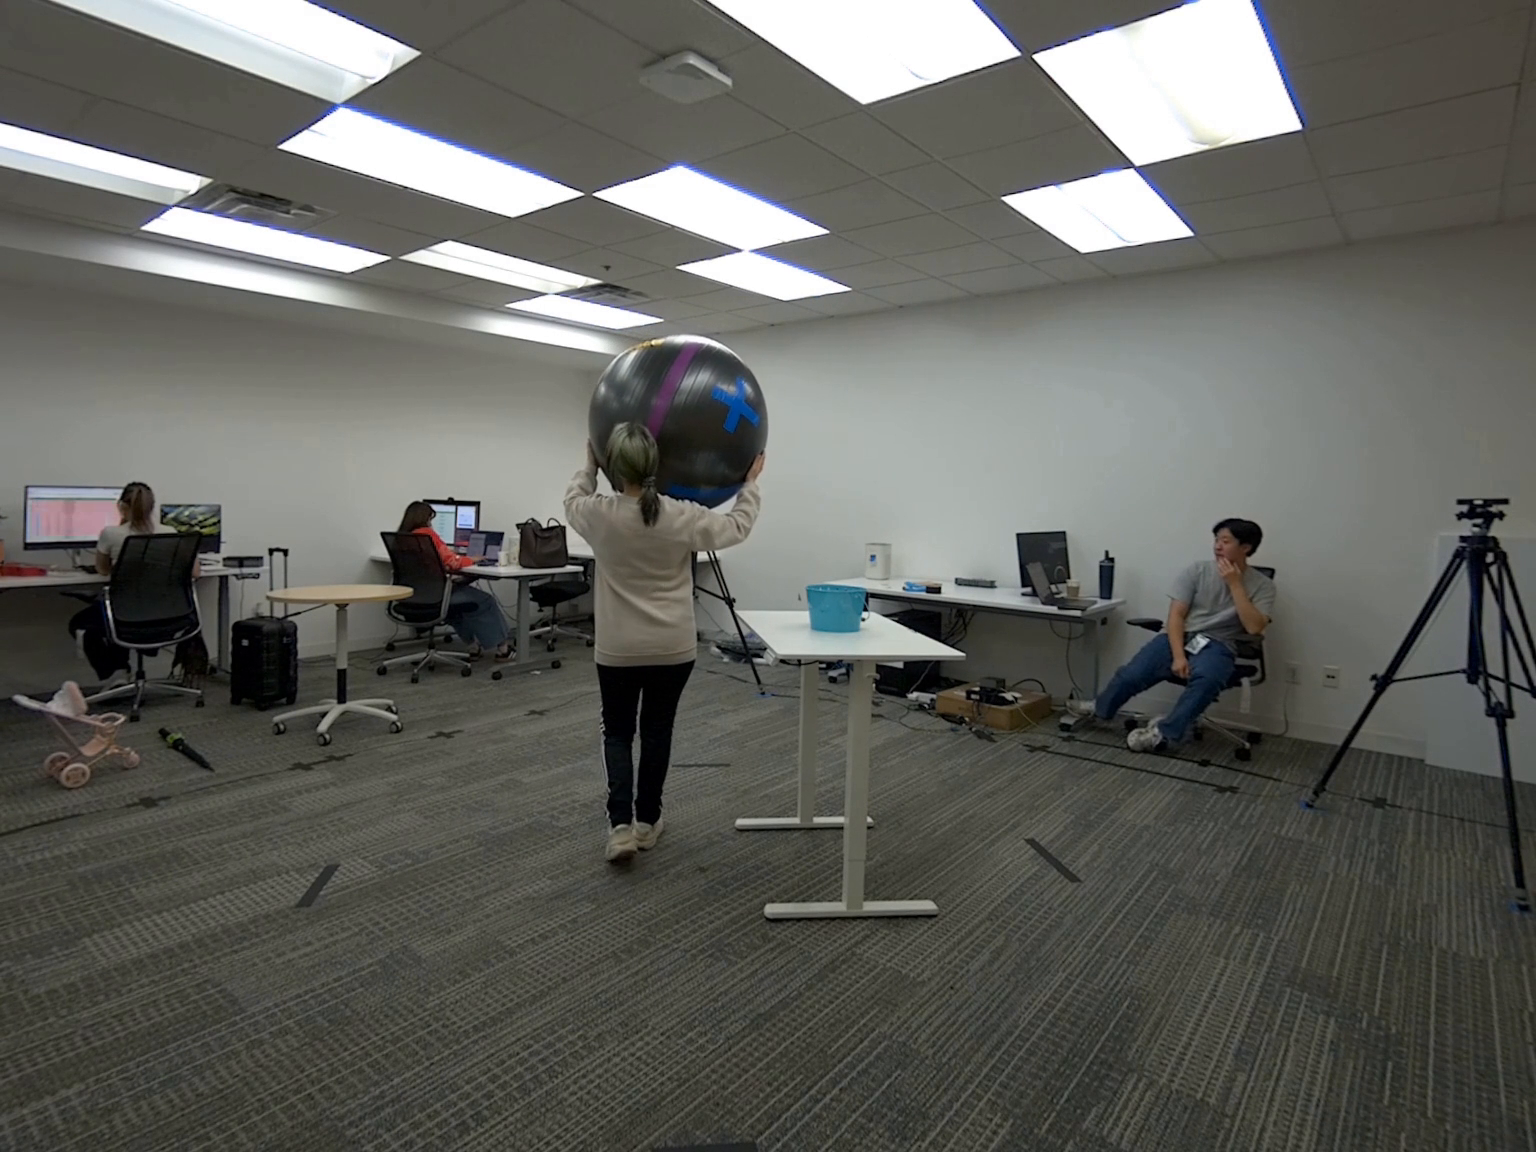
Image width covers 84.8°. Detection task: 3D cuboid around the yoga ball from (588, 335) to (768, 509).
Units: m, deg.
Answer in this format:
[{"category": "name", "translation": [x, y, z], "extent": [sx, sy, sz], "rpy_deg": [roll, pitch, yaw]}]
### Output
[{"category": "yoga ball", "translation": [-0.388, -0.634, 3.594], "extent": [0.757, 0.755, 0.762], "rpy_deg": [1, 4, -2]}]
